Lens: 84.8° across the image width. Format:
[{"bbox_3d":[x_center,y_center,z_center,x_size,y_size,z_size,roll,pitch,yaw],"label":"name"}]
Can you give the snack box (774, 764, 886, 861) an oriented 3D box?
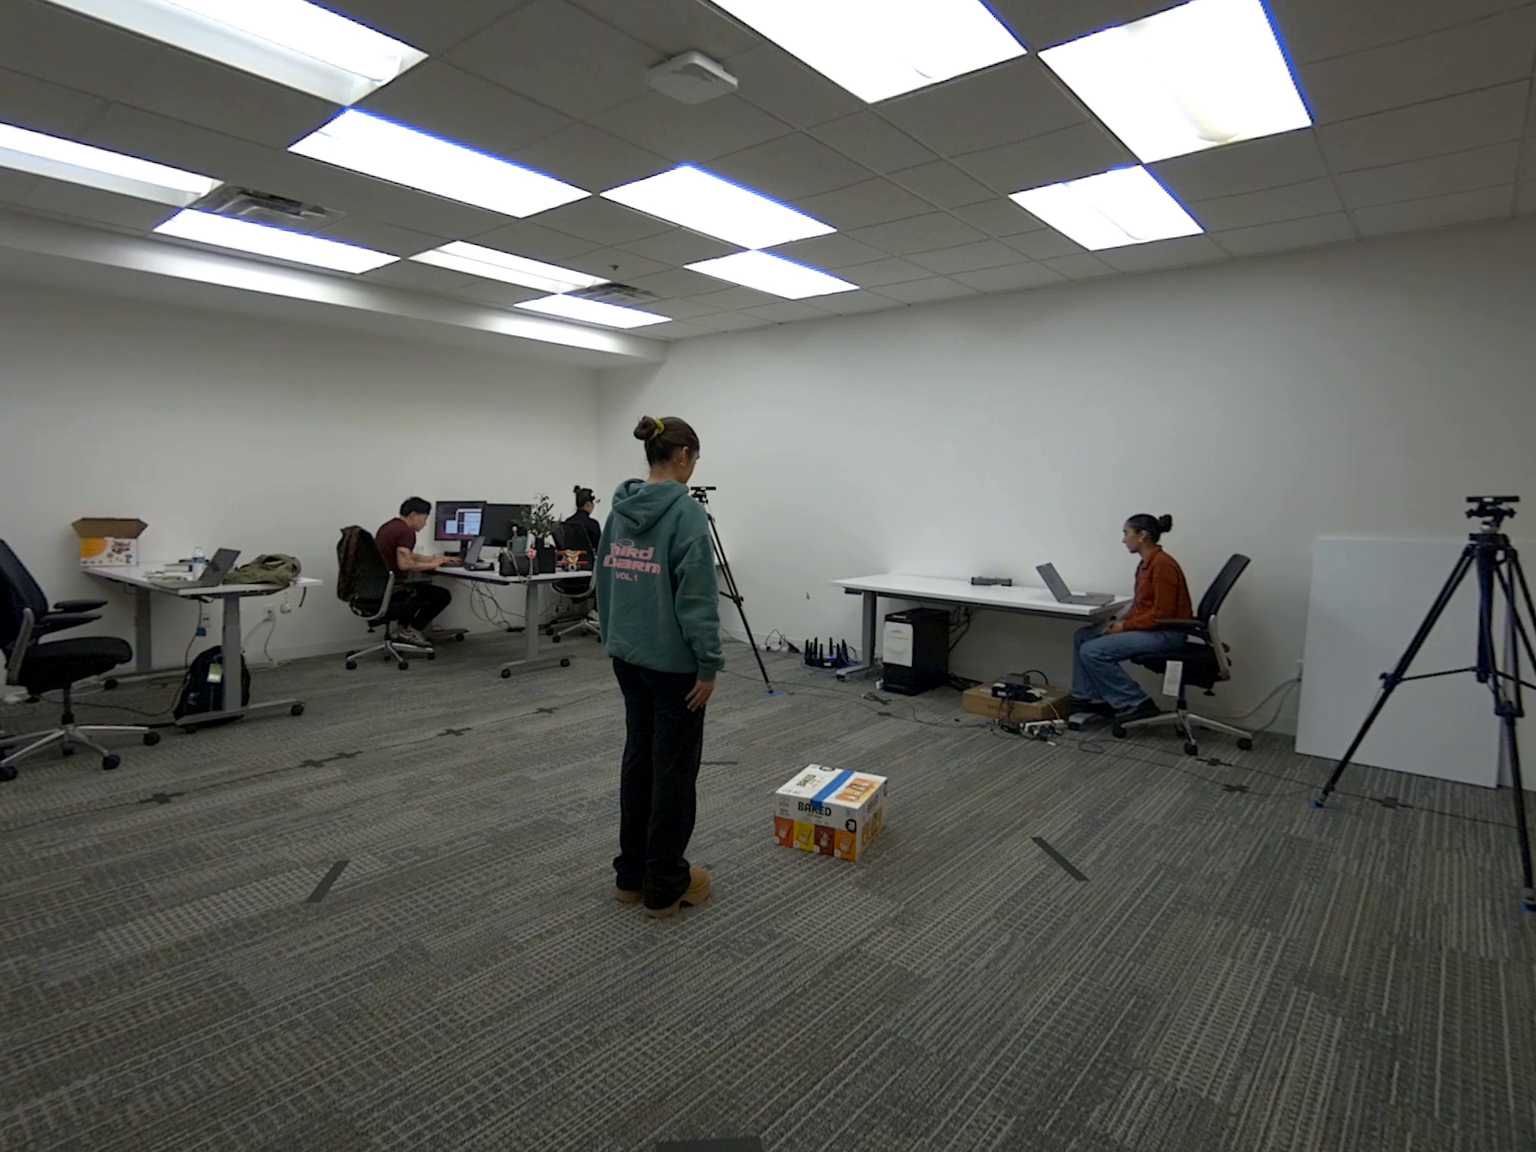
[{"bbox_3d":[0.252,0.940,3.436,0.349,0.205,0.396,4,6,25],"label":"snack box"}]
